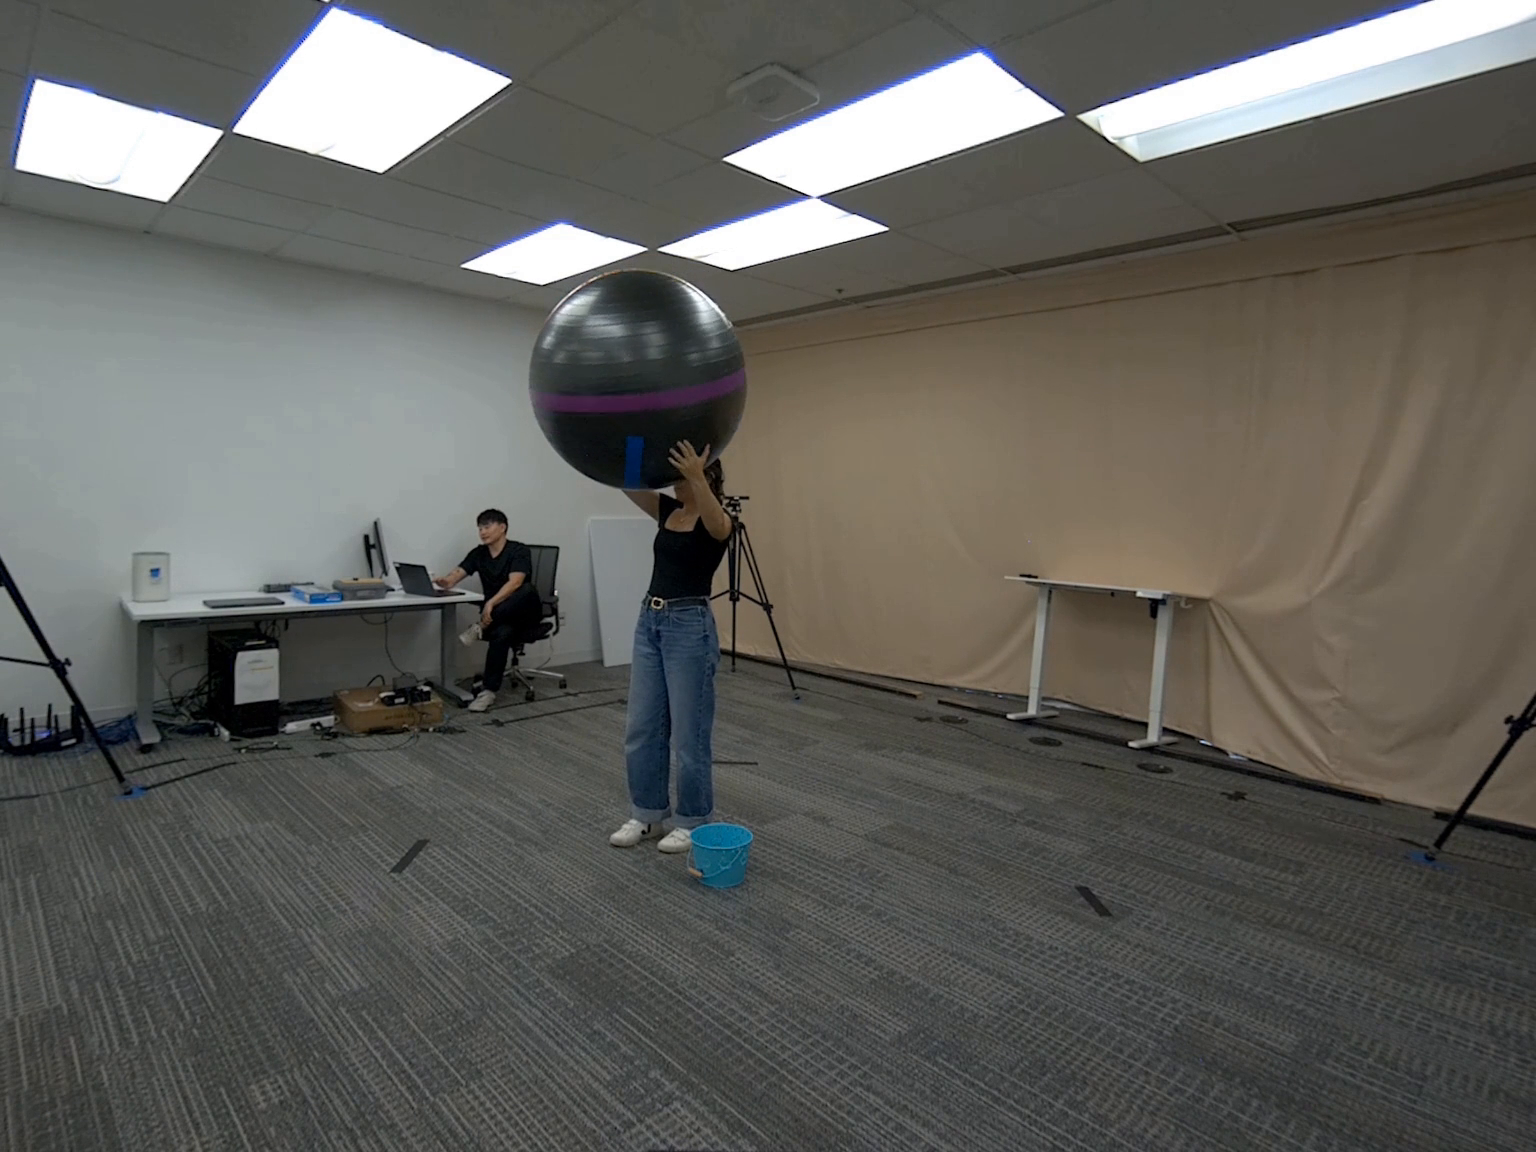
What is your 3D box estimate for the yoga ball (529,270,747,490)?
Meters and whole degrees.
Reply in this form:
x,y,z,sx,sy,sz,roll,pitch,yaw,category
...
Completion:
x,y,z,sx,sy,sz,roll,pitch,yaw,category
-0.462,-0.676,2.974,0.757,0.756,0.761,1,4,-1,yoga ball
